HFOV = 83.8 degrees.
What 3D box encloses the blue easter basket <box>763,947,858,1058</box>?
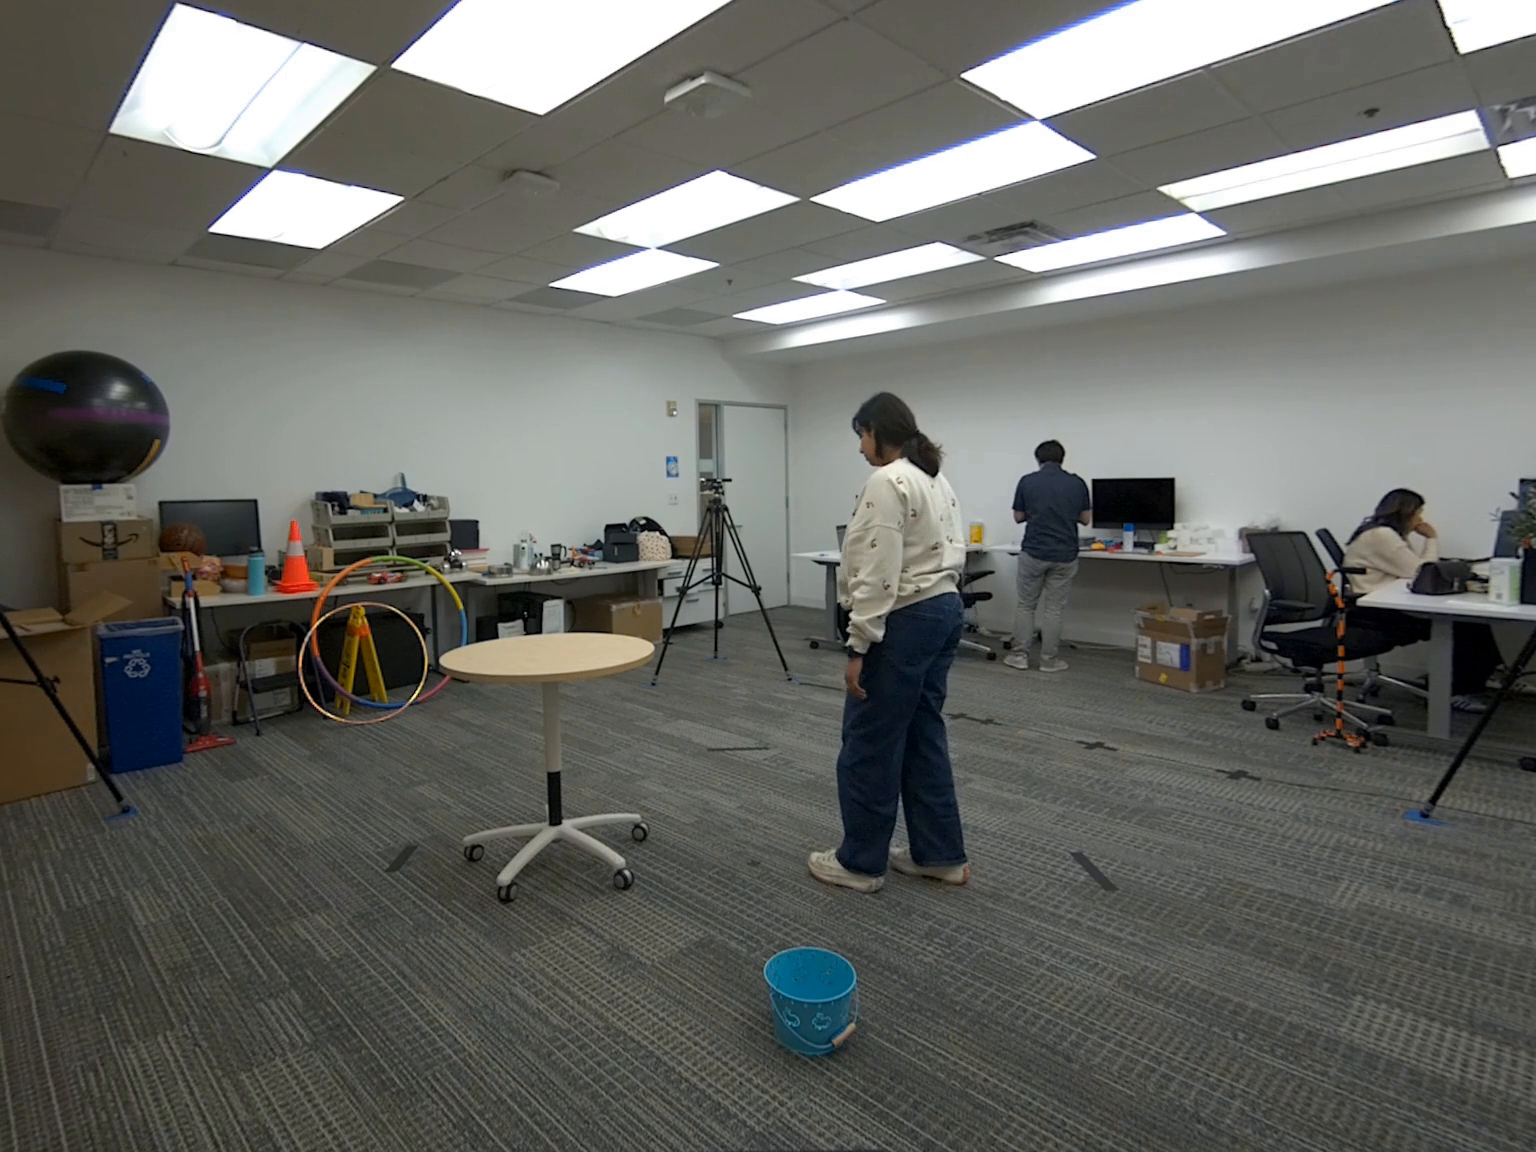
[{"bbox_3d":[0.114,1.076,2.152,0.243,0.155,0.245,-1,6,-2],"label":"blue easter basket"}]
